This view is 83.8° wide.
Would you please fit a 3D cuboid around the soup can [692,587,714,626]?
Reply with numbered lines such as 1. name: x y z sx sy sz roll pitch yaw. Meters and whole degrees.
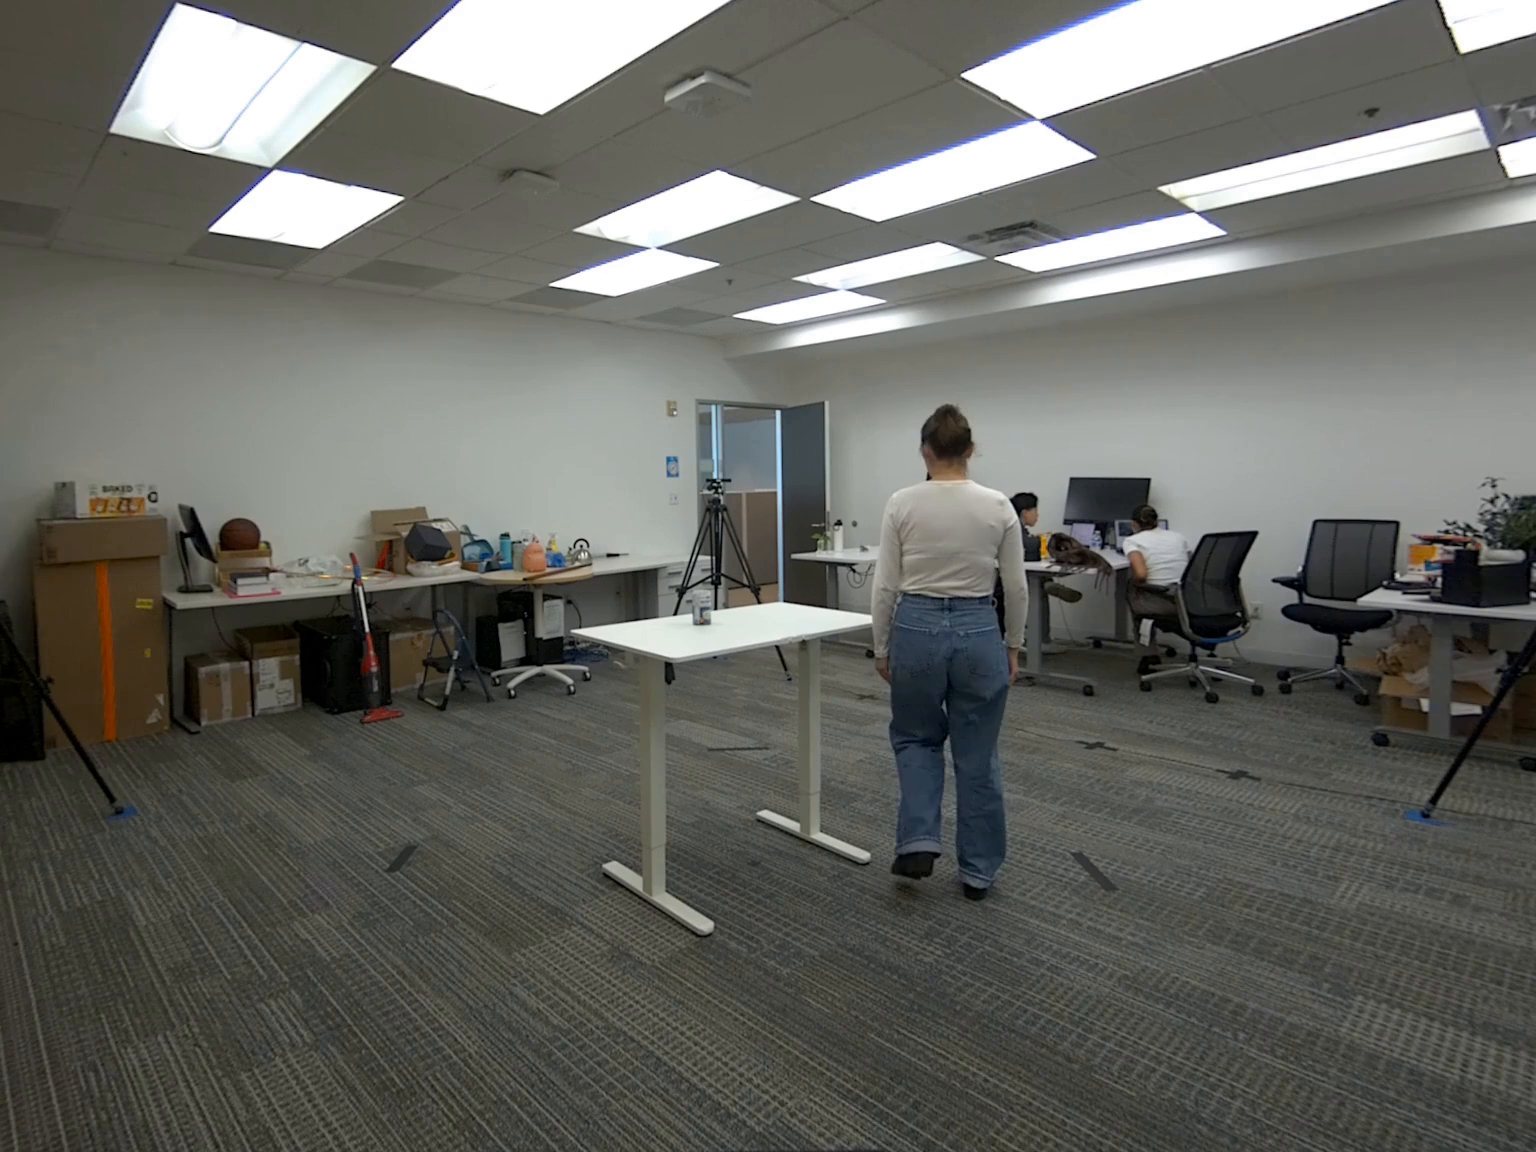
1. soup can: -0.235 0.115 3.036 0.067 0.121 0.067 1 1 -2
